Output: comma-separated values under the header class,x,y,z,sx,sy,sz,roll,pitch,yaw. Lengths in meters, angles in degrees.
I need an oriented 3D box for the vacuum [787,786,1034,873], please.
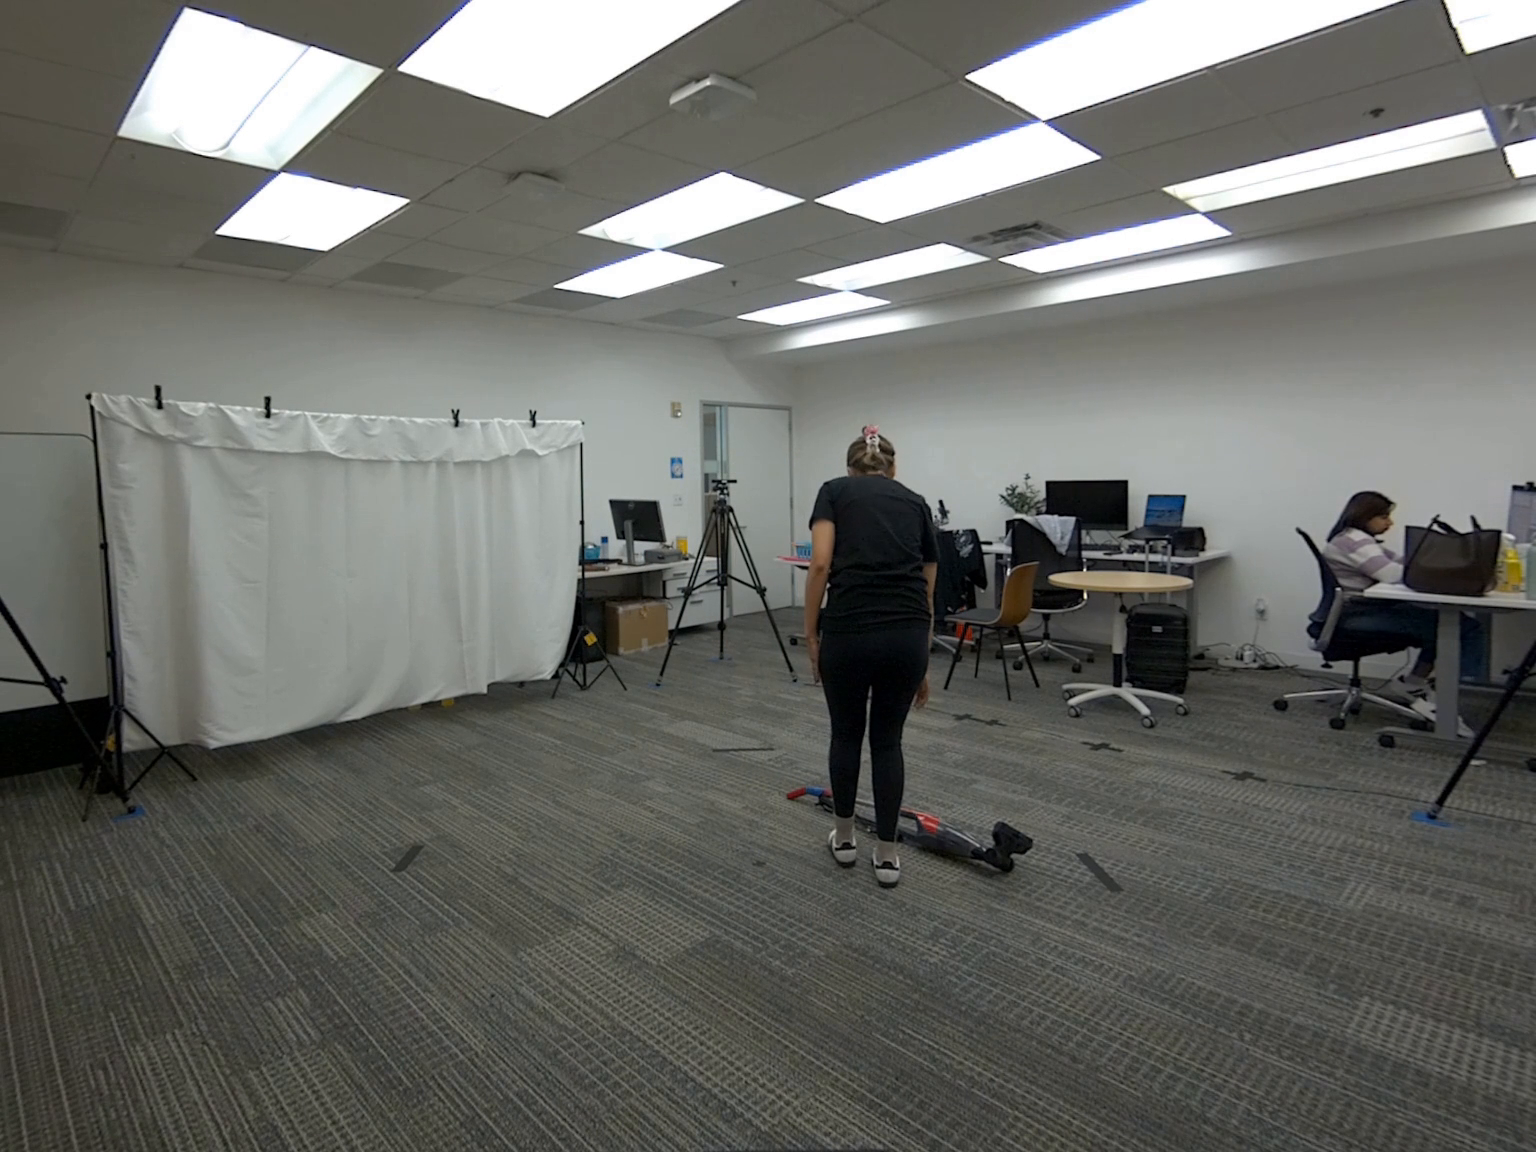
class,x,y,z,sx,sy,sz,roll,pitch,yaw
vacuum,0.472,0.964,3.361,1.078,0.145,0.243,-2,-28,45
